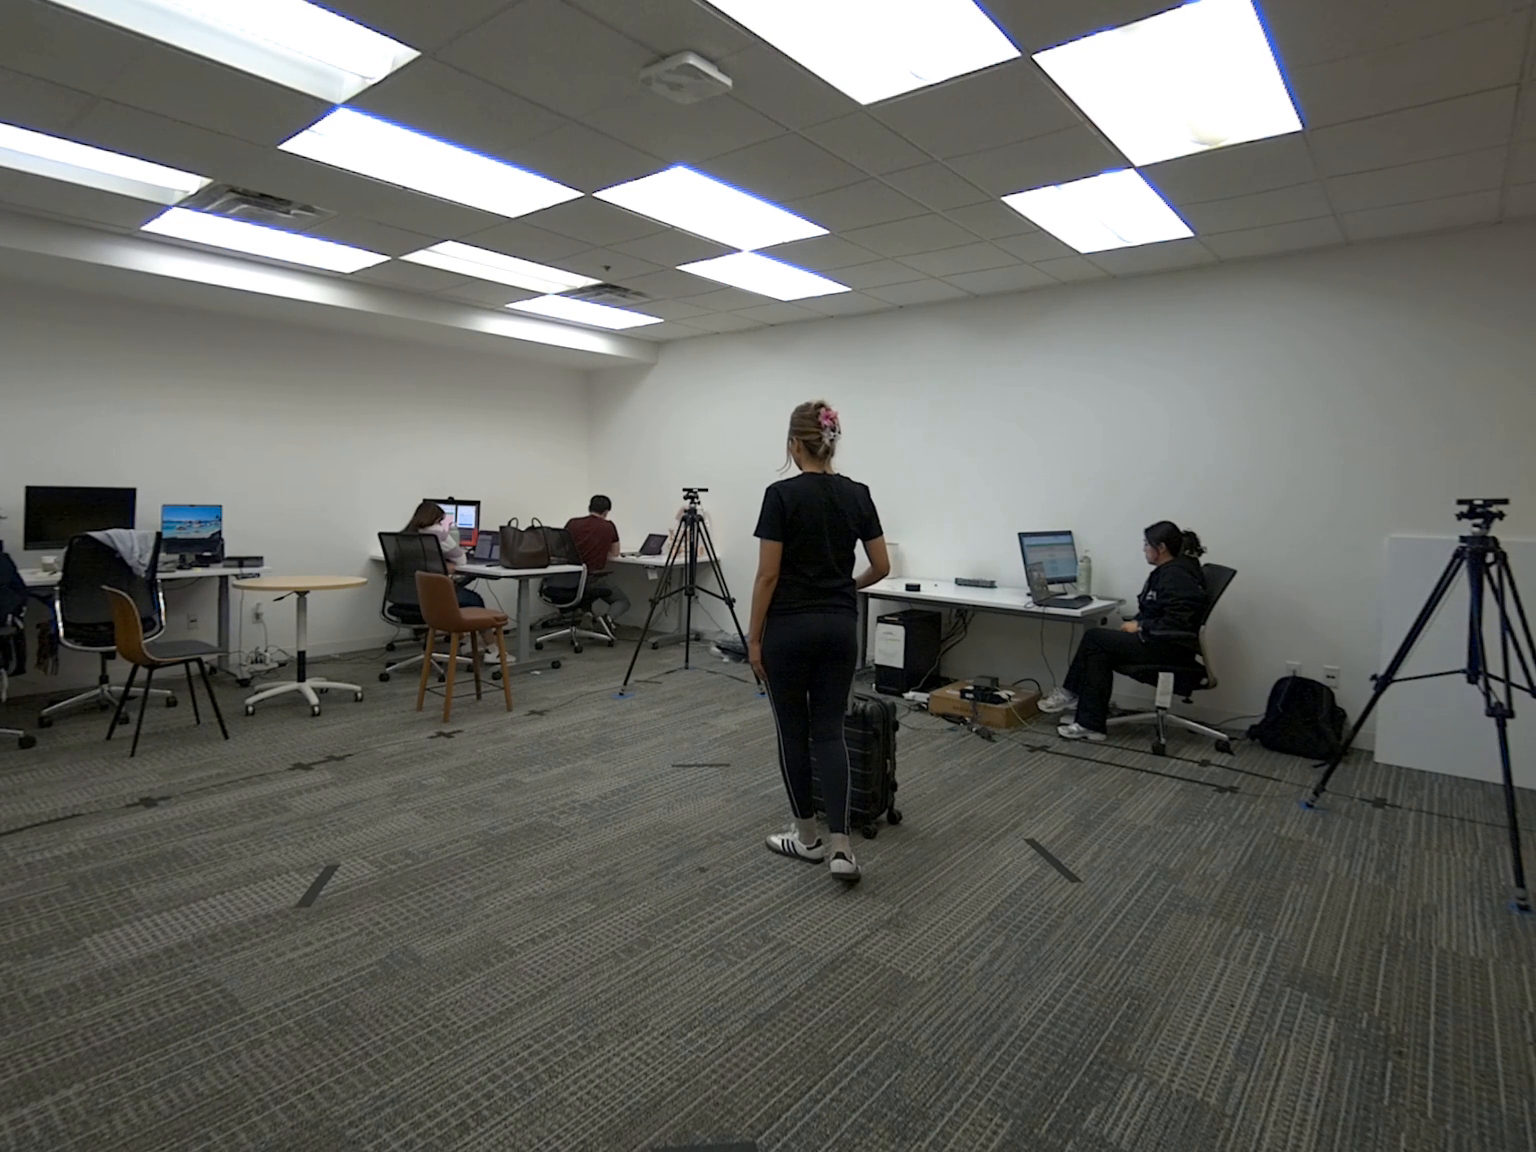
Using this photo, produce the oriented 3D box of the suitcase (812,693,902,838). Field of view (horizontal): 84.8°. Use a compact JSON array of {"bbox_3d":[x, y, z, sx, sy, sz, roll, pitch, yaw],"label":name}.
[{"bbox_3d":[0.348,0.557,3.609,0.396,0.978,0.249,2,1,37],"label":"suitcase"}]
